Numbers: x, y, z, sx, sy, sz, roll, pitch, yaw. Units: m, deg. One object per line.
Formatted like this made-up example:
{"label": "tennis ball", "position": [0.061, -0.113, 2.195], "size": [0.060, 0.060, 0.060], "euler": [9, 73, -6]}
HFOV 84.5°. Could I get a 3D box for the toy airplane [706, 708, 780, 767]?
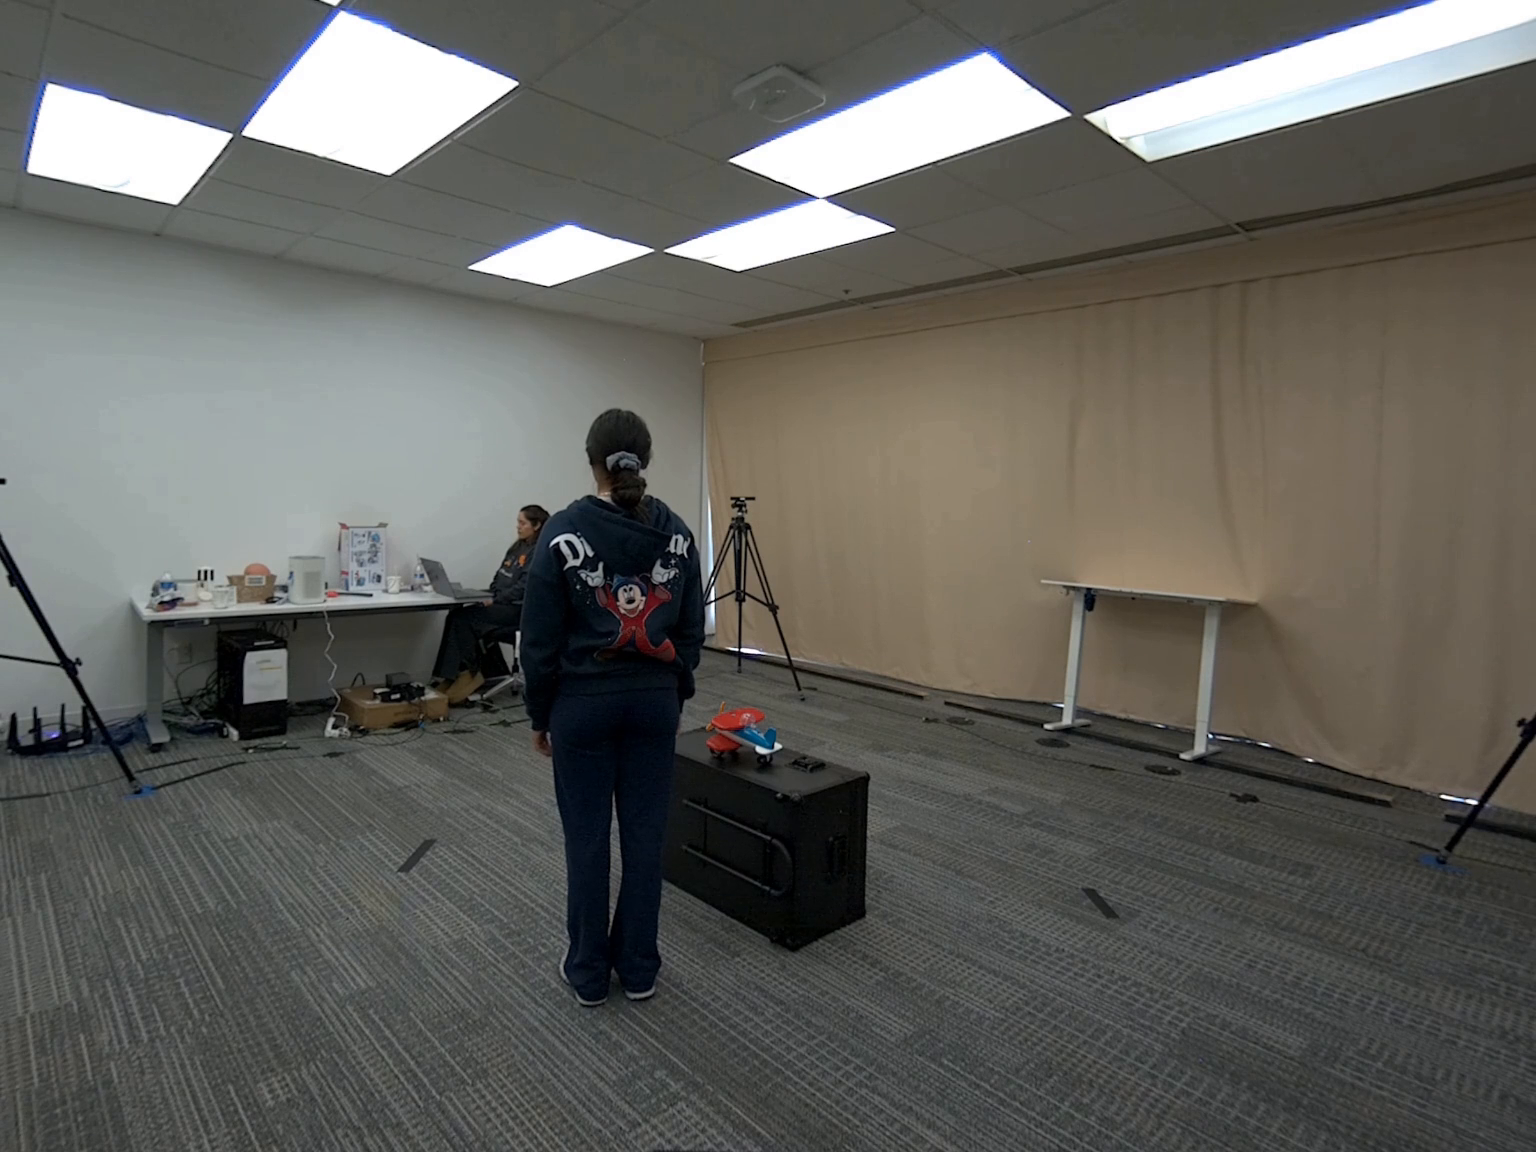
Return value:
{"label": "toy airplane", "position": [-0.078, 0.561, 2.966], "size": [0.261, 0.156, 0.250], "euler": [1, 4, 9]}
